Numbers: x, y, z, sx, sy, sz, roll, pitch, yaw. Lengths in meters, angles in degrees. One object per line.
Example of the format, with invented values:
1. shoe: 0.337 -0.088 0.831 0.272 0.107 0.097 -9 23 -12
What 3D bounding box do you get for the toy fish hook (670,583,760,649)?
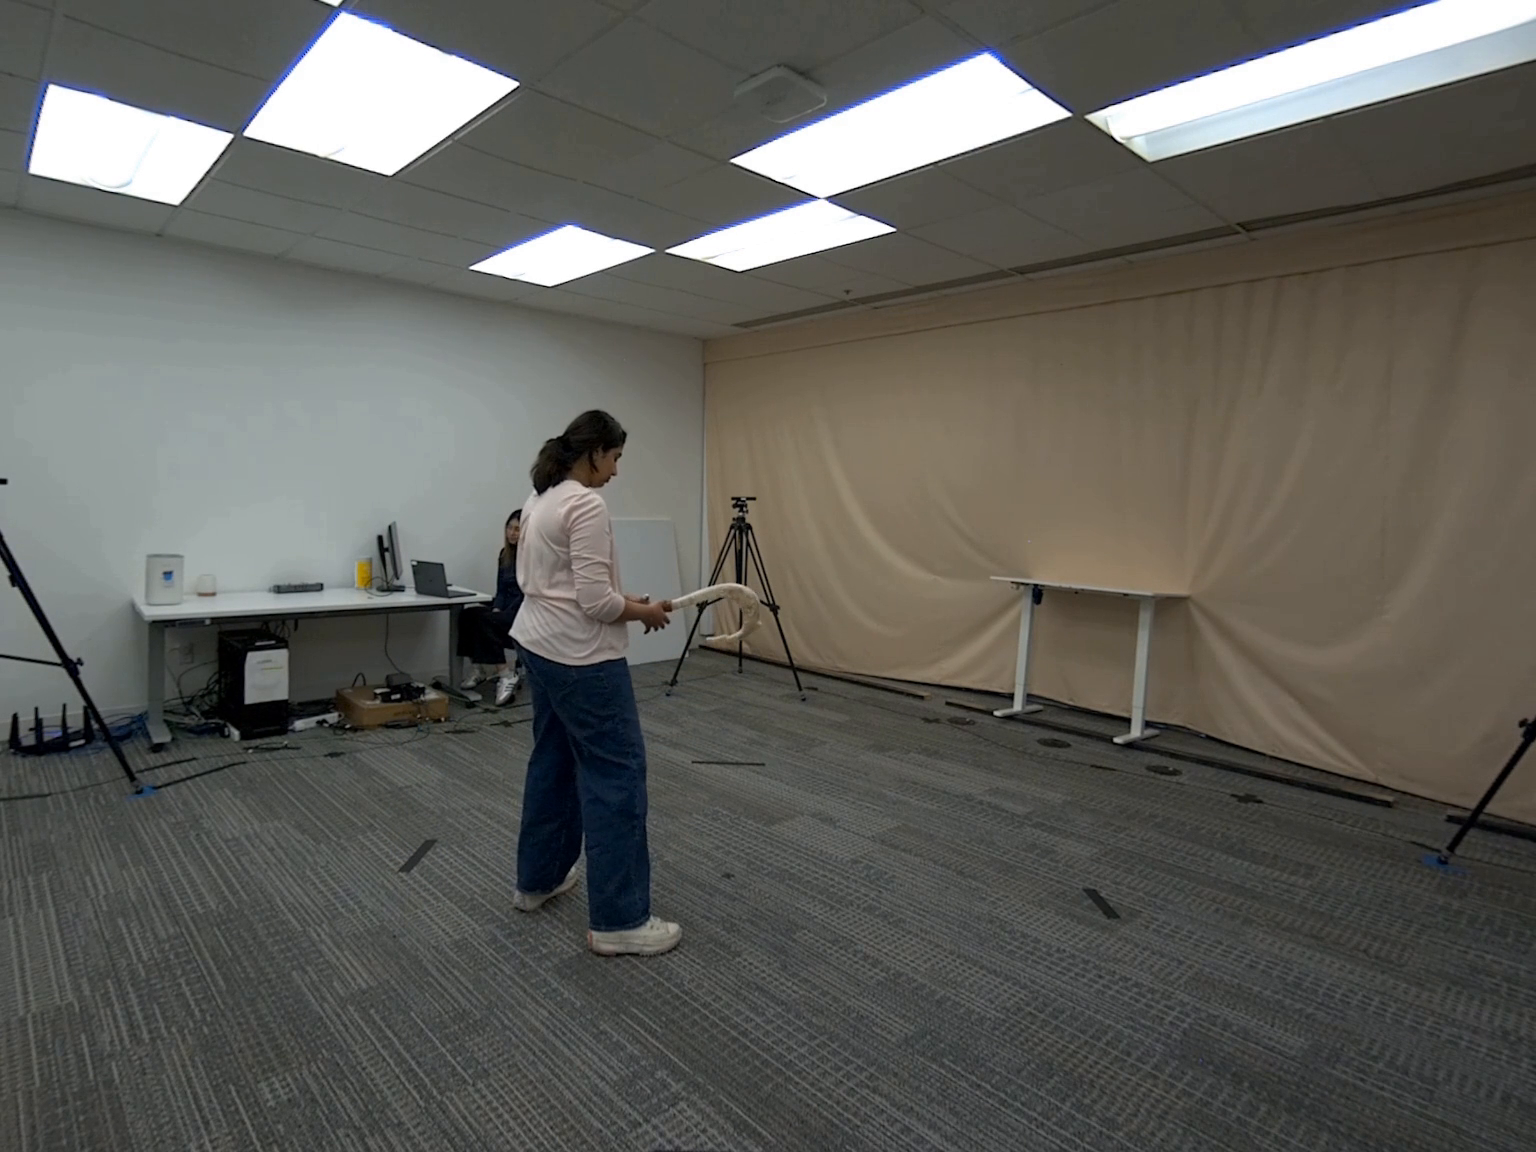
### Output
1. toy fish hook: -0.285 0.152 2.909 0.506 0.223 0.049 -5 9 -1
